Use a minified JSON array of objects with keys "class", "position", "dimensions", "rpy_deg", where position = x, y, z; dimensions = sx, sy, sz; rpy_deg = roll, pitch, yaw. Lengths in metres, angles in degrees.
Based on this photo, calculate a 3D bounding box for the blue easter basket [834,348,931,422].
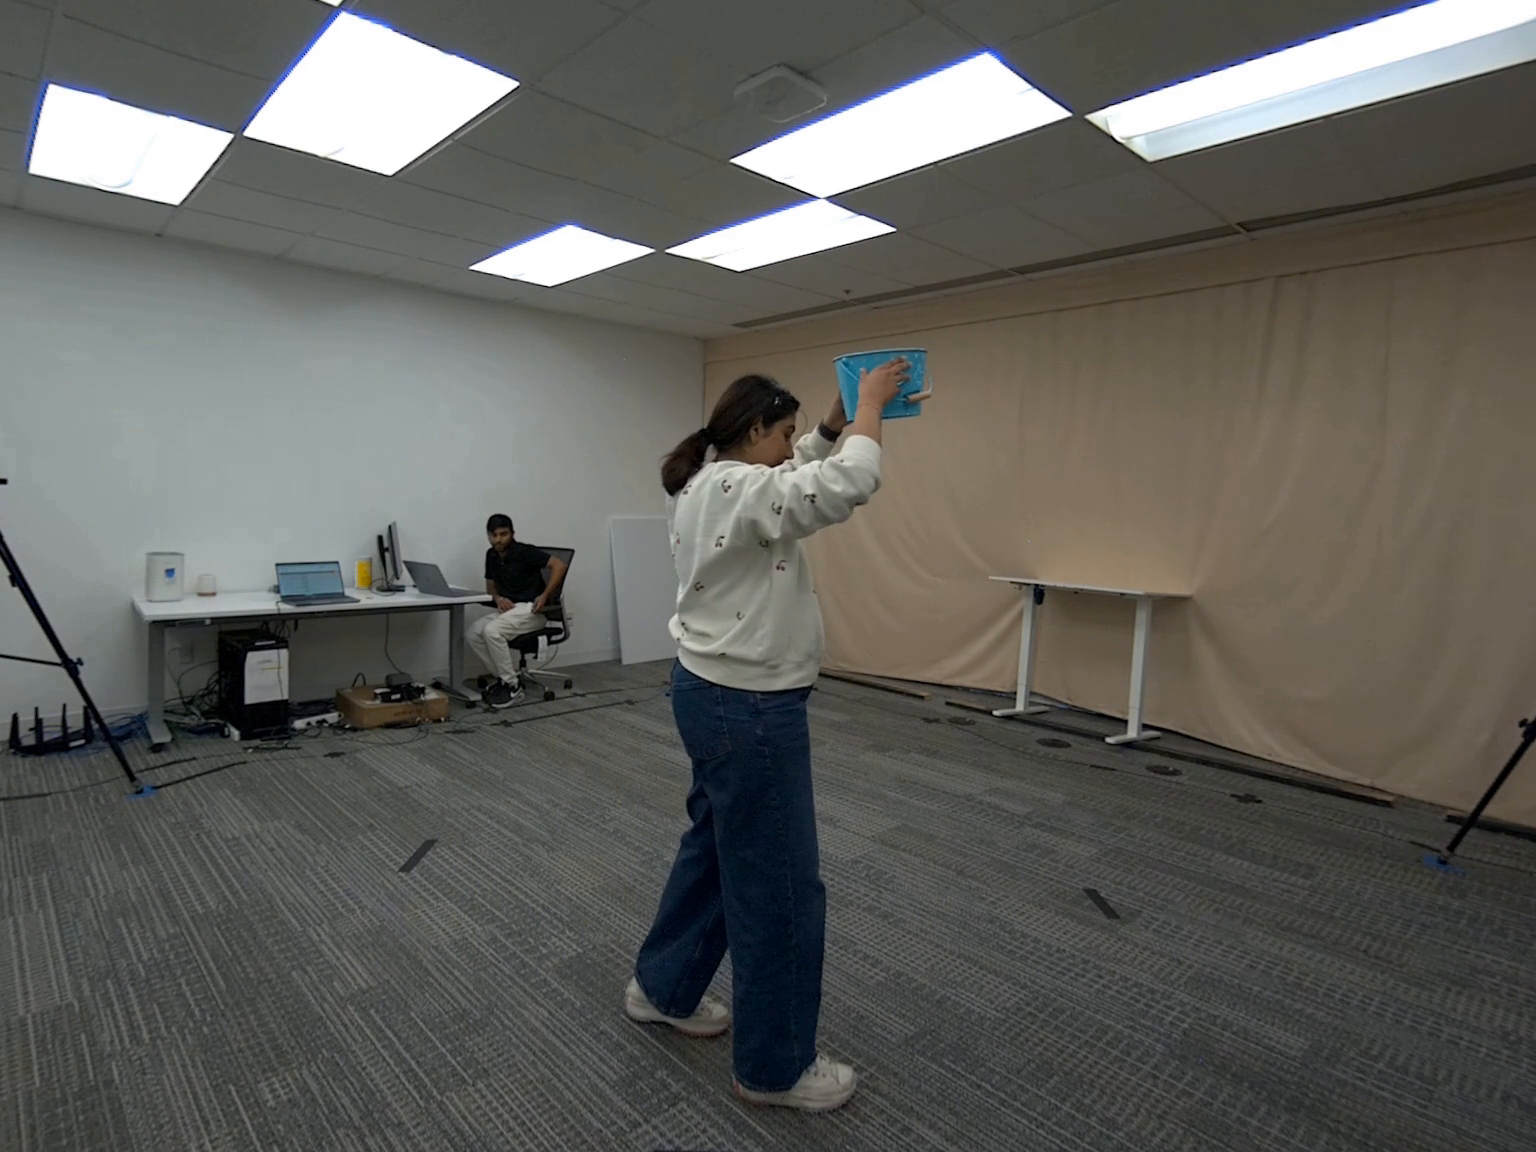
[{"class":"blue easter basket","position":[0.271,-0.460,2.048],"dimensions":[0.243,0.155,0.245],"rpy_deg":[-4,6,-1]}]
